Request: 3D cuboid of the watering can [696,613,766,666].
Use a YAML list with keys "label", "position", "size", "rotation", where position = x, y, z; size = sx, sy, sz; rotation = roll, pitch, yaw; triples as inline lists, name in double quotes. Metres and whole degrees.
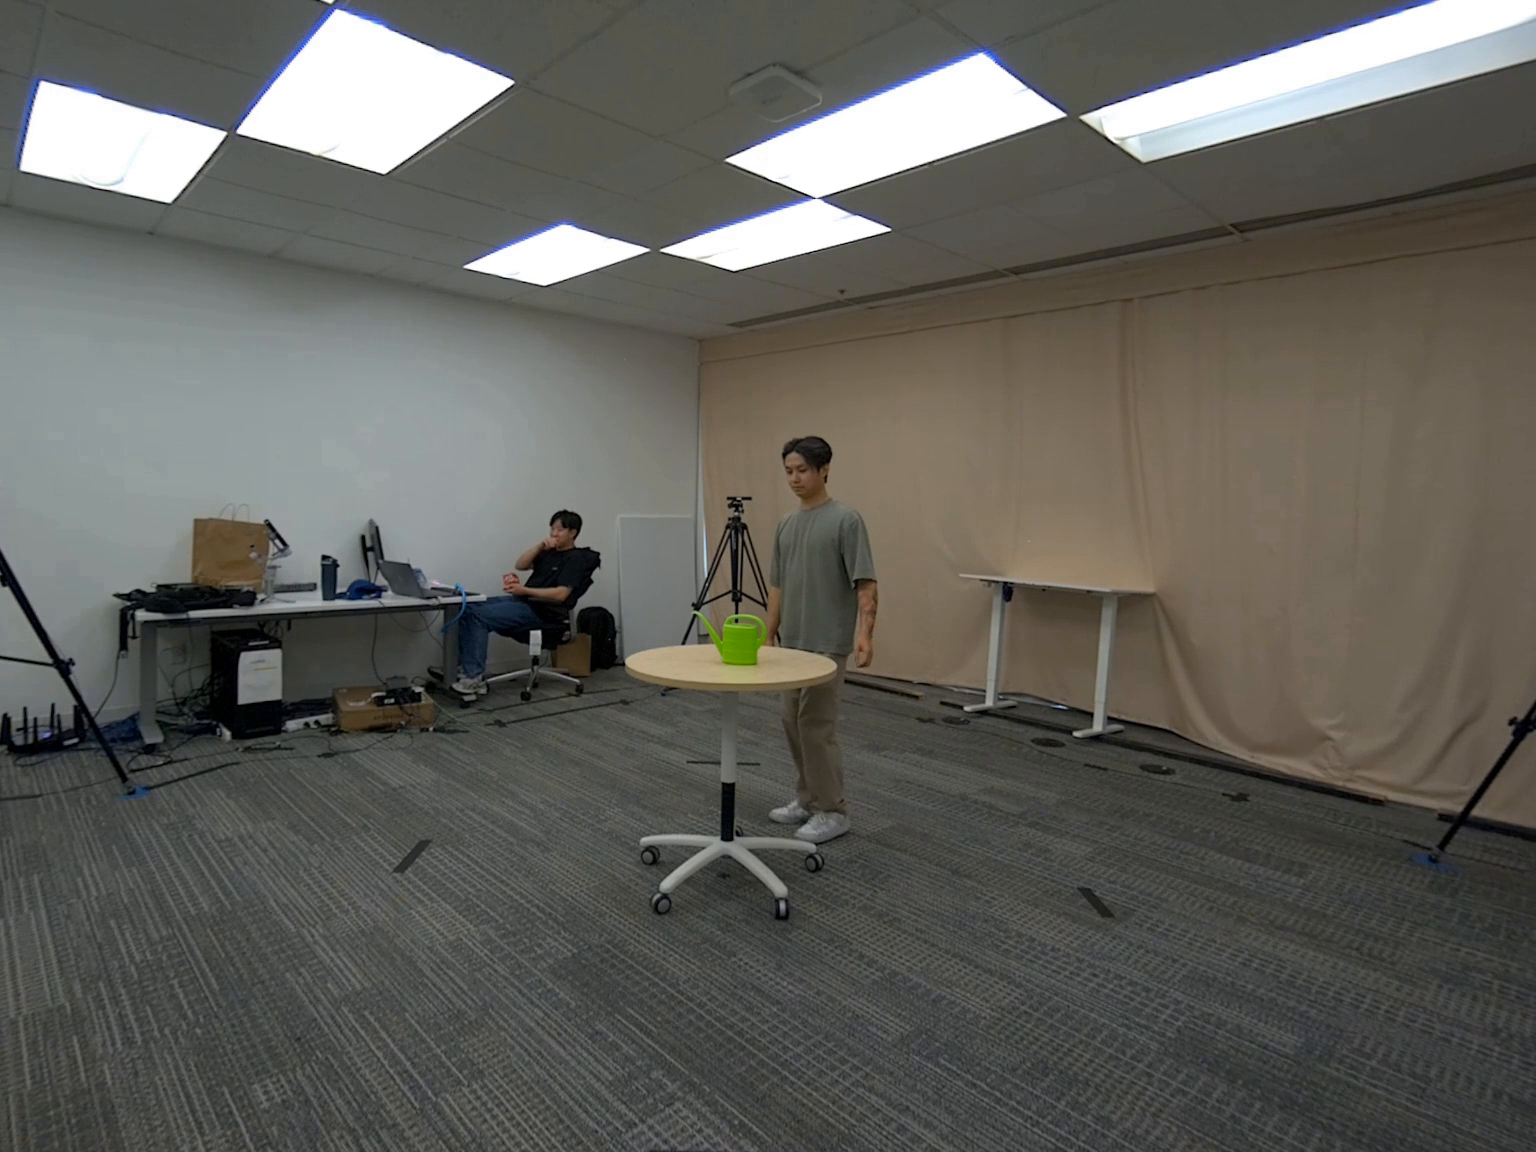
- label: "watering can"
  position: [-0.141, 0.227, 3.054]
  size: [0.285, 0.176, 0.096]
  rotation: [6, 7, 33]
